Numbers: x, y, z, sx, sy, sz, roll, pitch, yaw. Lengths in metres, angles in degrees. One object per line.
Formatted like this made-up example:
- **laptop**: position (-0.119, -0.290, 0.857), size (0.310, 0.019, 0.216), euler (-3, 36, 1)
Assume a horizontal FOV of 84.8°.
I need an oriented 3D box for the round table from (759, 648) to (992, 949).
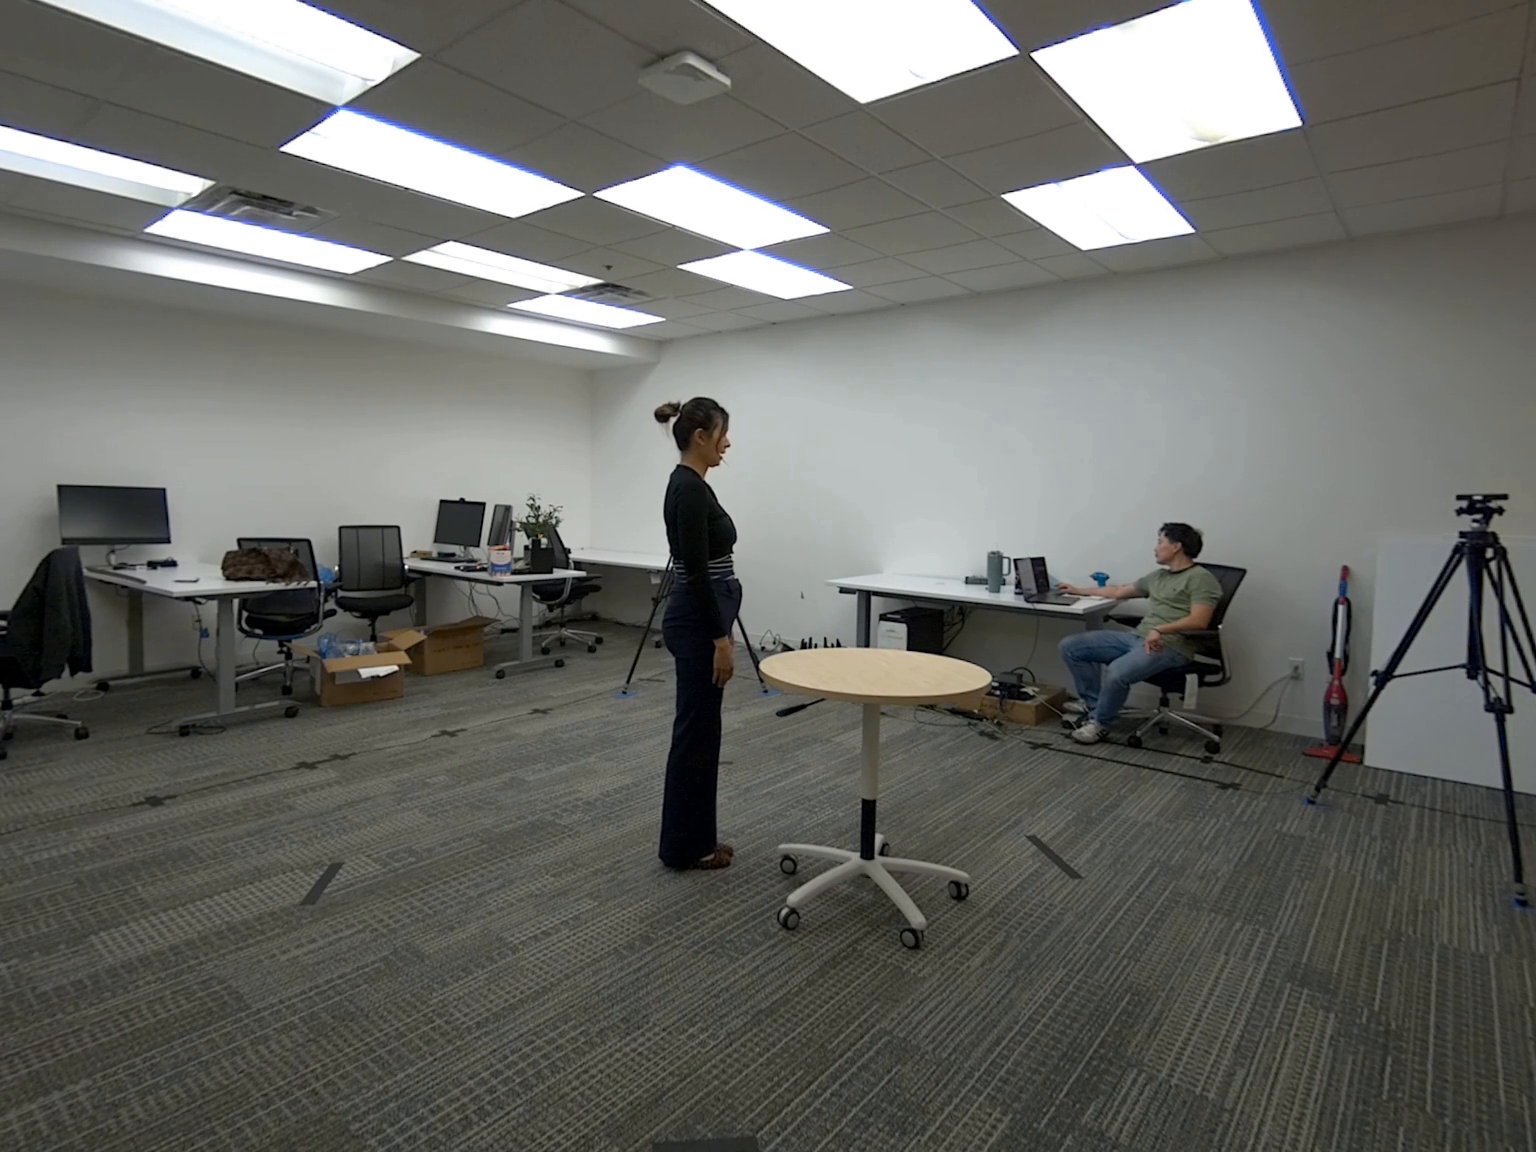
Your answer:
- **round table**: position (0.338, 0.706, 2.887), size (0.763, 0.791, 0.768), euler (1, 4, -2)
